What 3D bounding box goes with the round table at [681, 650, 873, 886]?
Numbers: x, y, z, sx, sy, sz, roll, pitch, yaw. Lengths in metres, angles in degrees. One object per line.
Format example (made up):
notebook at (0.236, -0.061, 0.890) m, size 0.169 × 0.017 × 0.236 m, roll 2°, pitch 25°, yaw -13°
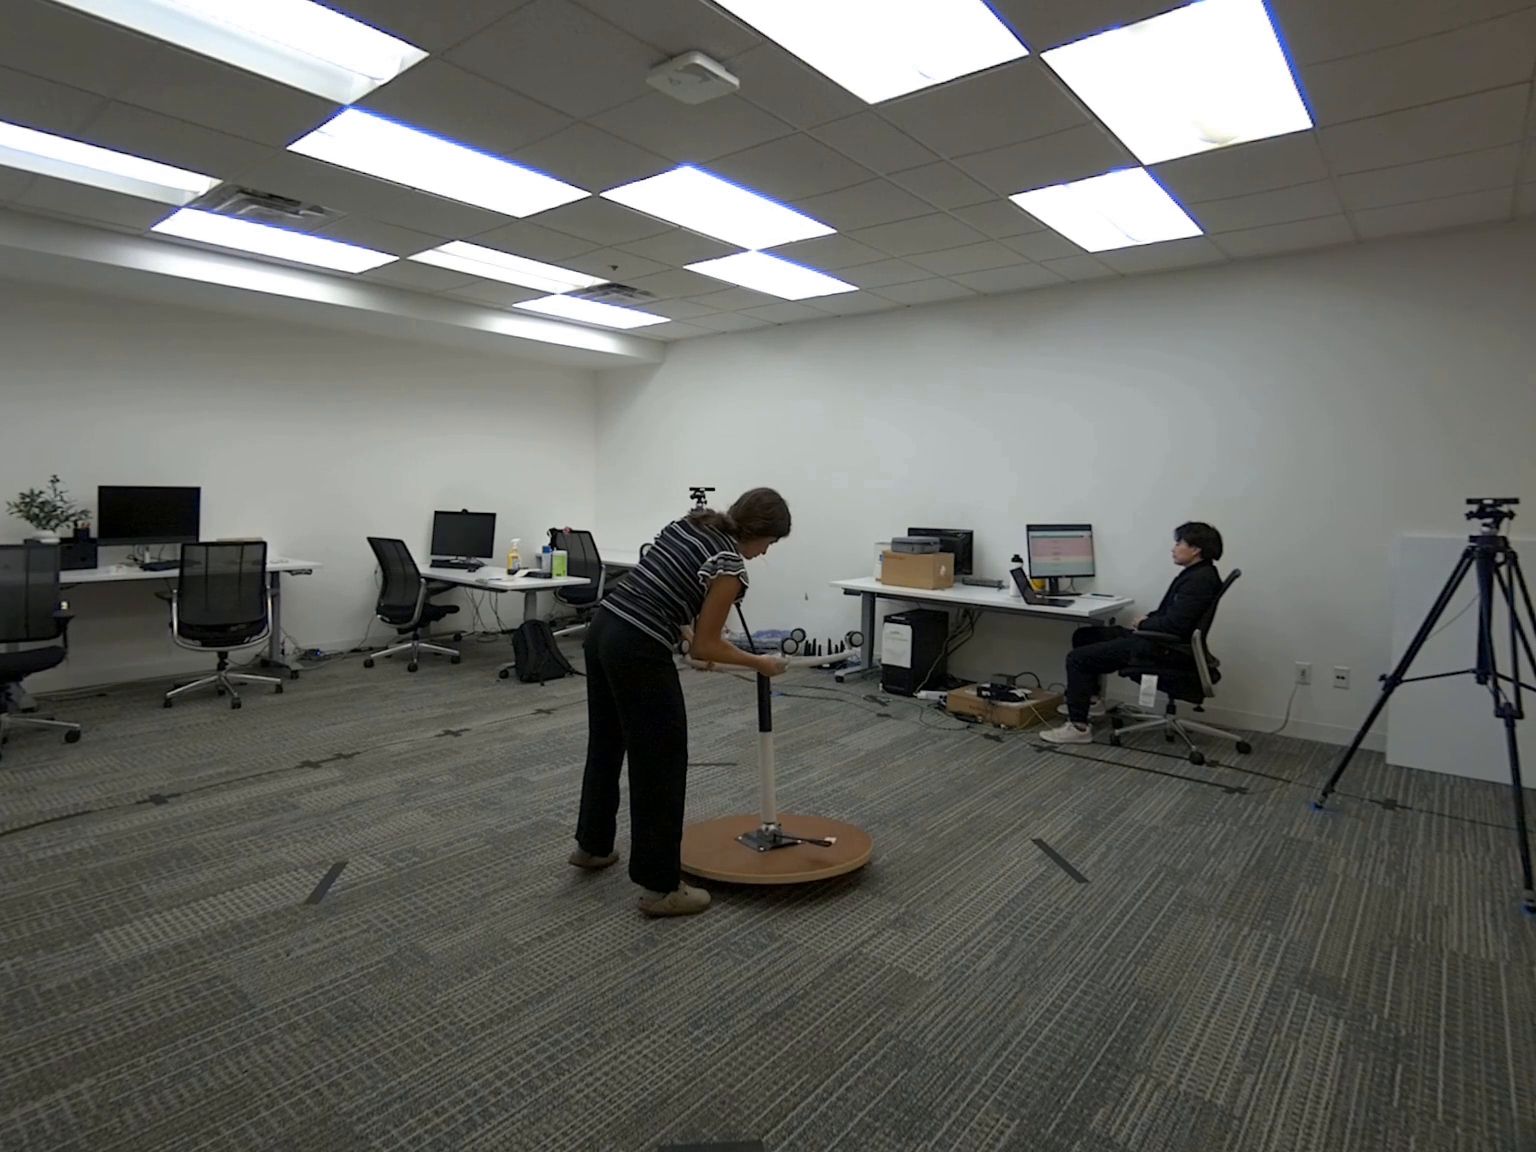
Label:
round table at (-0.016, 0.622, 3.221) m, size 0.763 × 0.796 × 0.763 m, roll -2°, pitch -2°, yaw -2°
